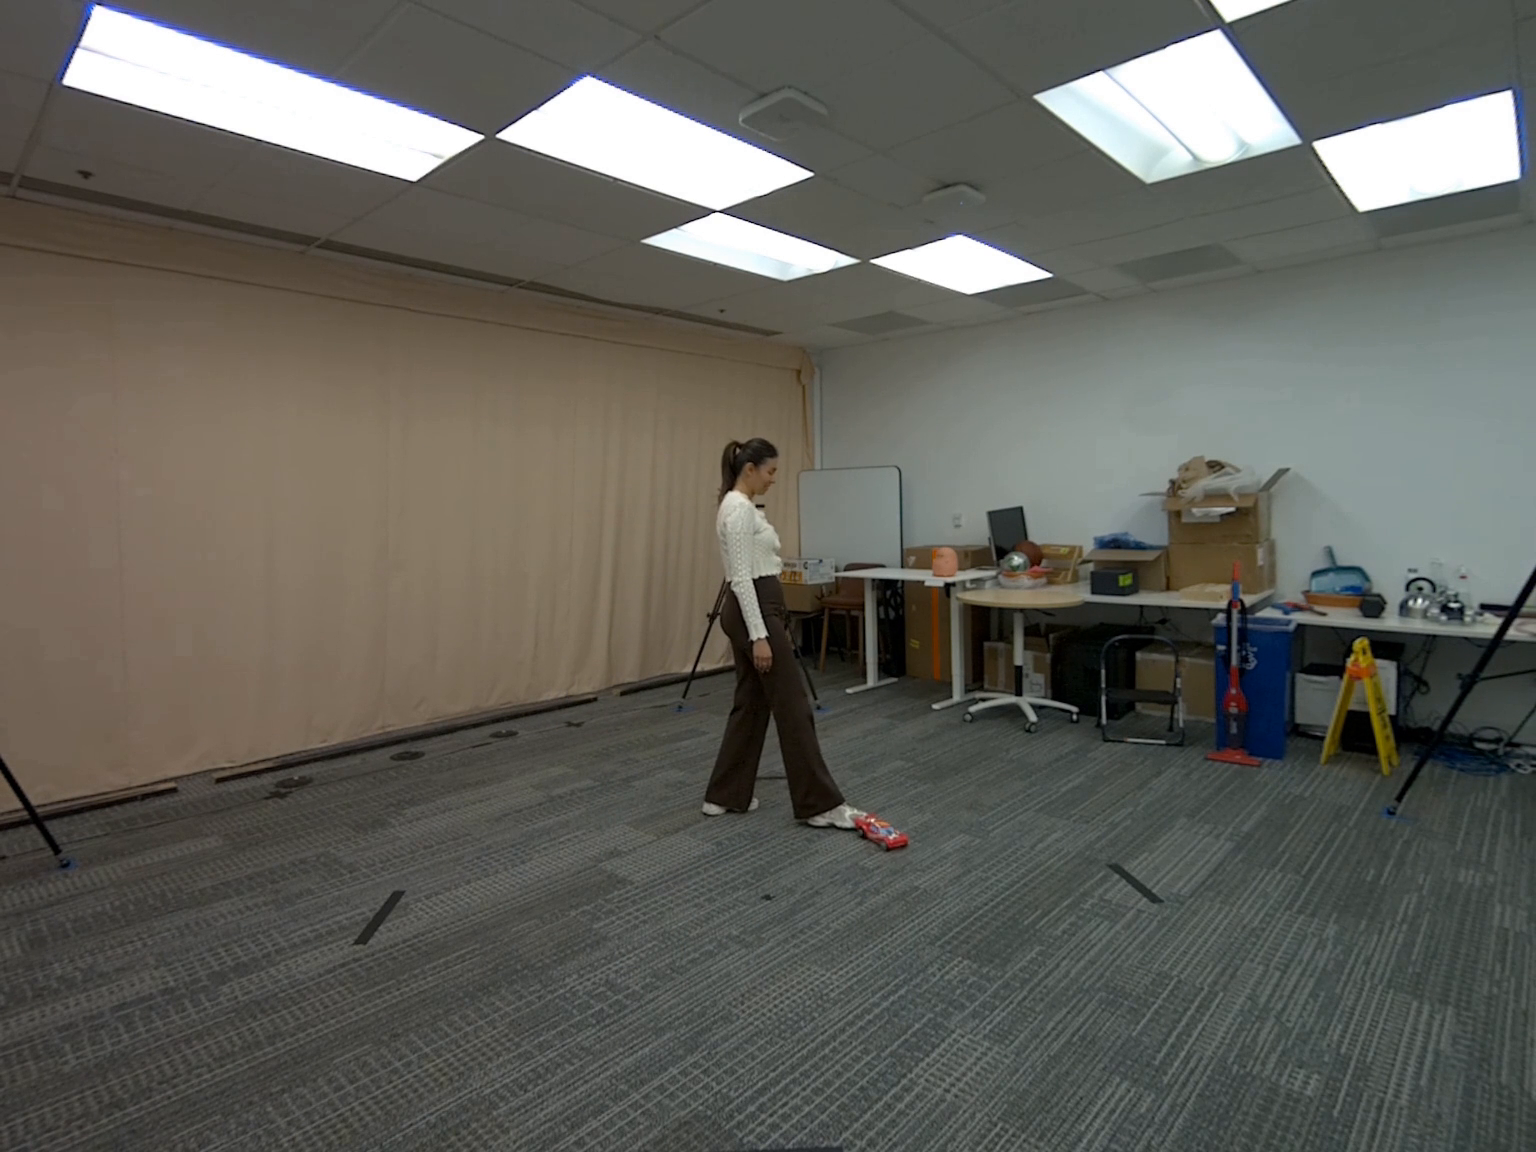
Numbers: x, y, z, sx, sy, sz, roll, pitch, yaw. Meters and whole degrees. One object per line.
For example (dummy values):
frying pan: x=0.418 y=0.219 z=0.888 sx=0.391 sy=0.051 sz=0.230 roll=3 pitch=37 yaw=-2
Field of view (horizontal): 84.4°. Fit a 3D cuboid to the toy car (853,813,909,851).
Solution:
toy car: x=0.461 y=1.056 z=3.476 sx=0.127 sy=0.082 sz=0.263 roll=-3 pitch=16 yaw=-29
